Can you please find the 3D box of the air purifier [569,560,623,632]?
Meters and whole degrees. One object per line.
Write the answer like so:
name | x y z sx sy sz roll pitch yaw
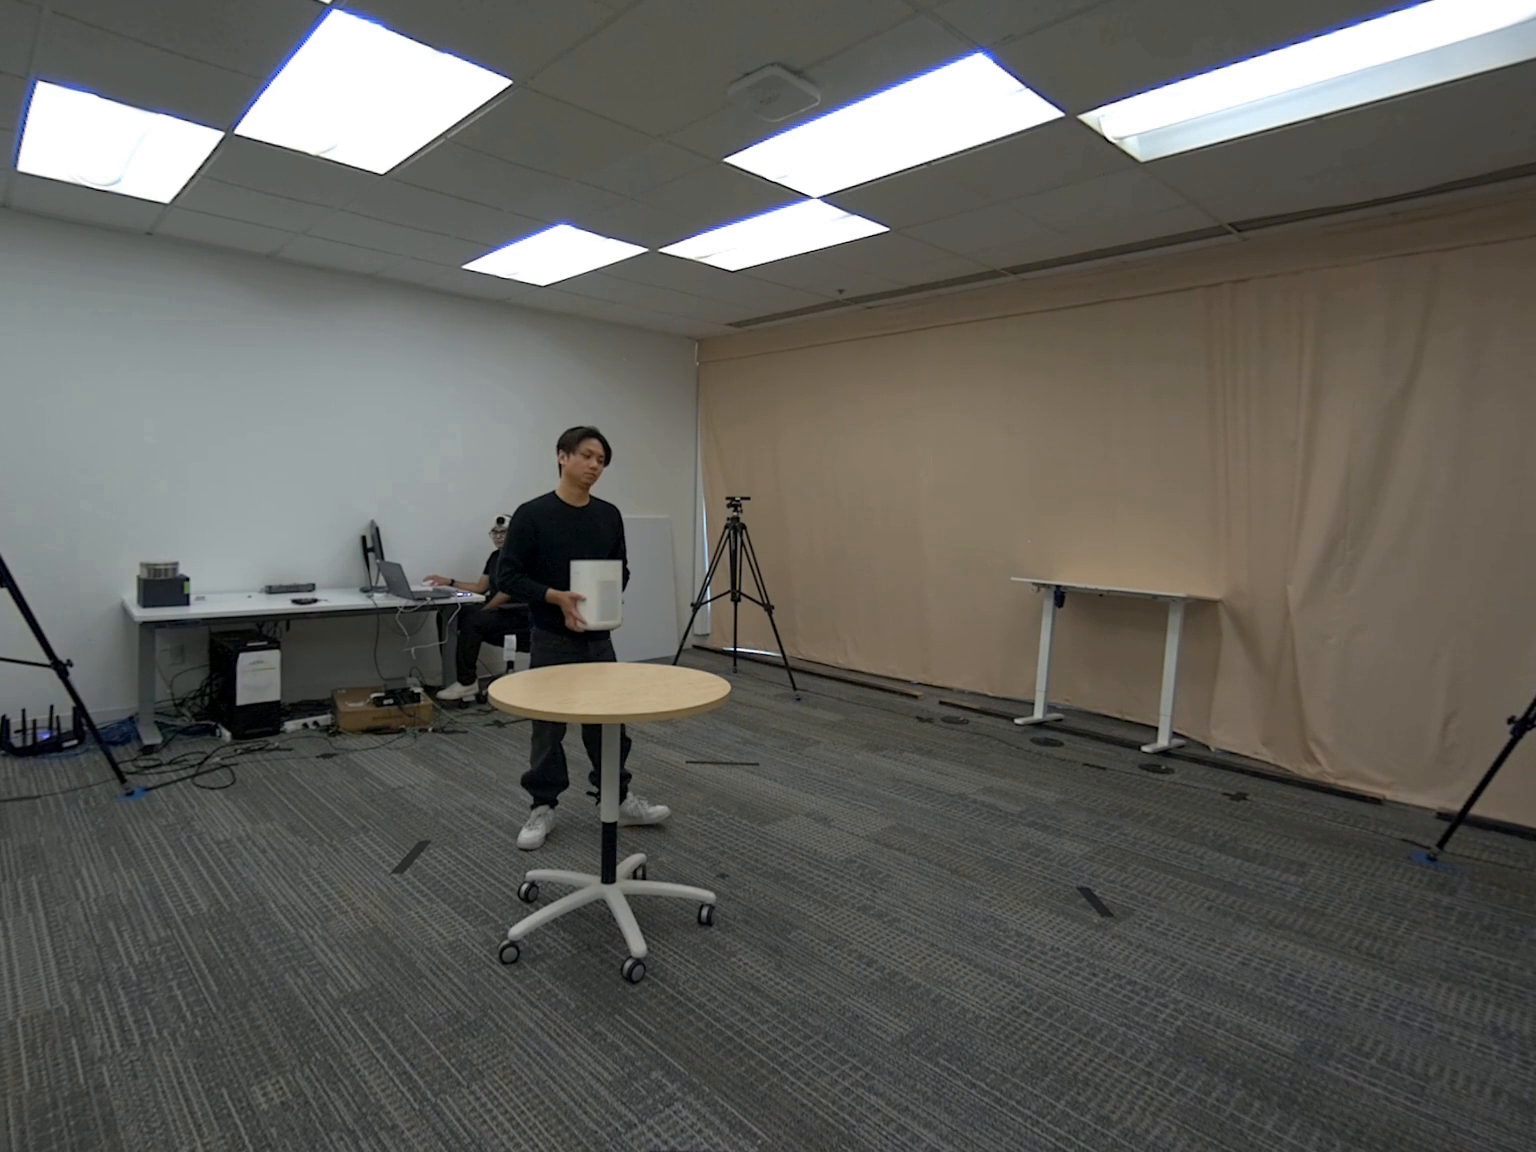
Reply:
air purifier | -0.672 0.071 3.248 0.167 0.266 0.175 1 -1 -44
